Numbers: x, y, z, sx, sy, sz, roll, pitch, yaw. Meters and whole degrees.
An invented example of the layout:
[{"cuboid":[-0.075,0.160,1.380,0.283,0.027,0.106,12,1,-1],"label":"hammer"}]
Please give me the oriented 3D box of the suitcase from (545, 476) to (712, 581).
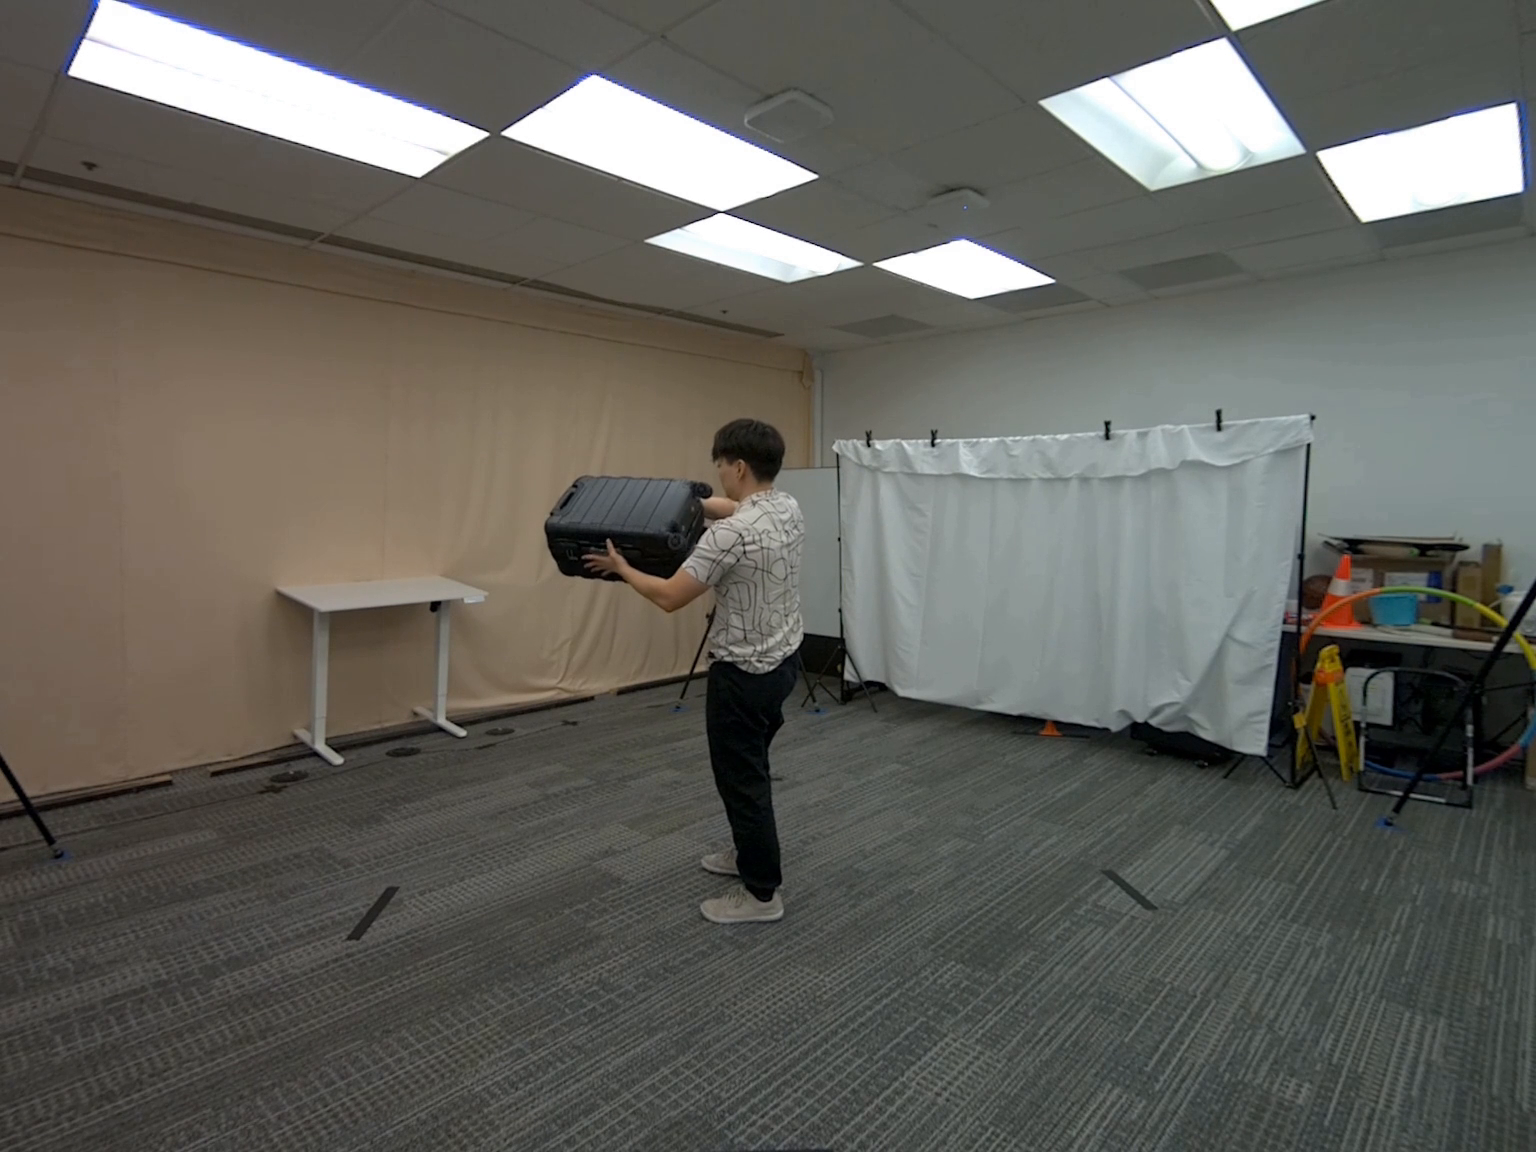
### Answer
[{"cuboid":[-0.490,-0.165,2.975,0.560,0.242,0.377,5,42,17],"label":"suitcase"}]
